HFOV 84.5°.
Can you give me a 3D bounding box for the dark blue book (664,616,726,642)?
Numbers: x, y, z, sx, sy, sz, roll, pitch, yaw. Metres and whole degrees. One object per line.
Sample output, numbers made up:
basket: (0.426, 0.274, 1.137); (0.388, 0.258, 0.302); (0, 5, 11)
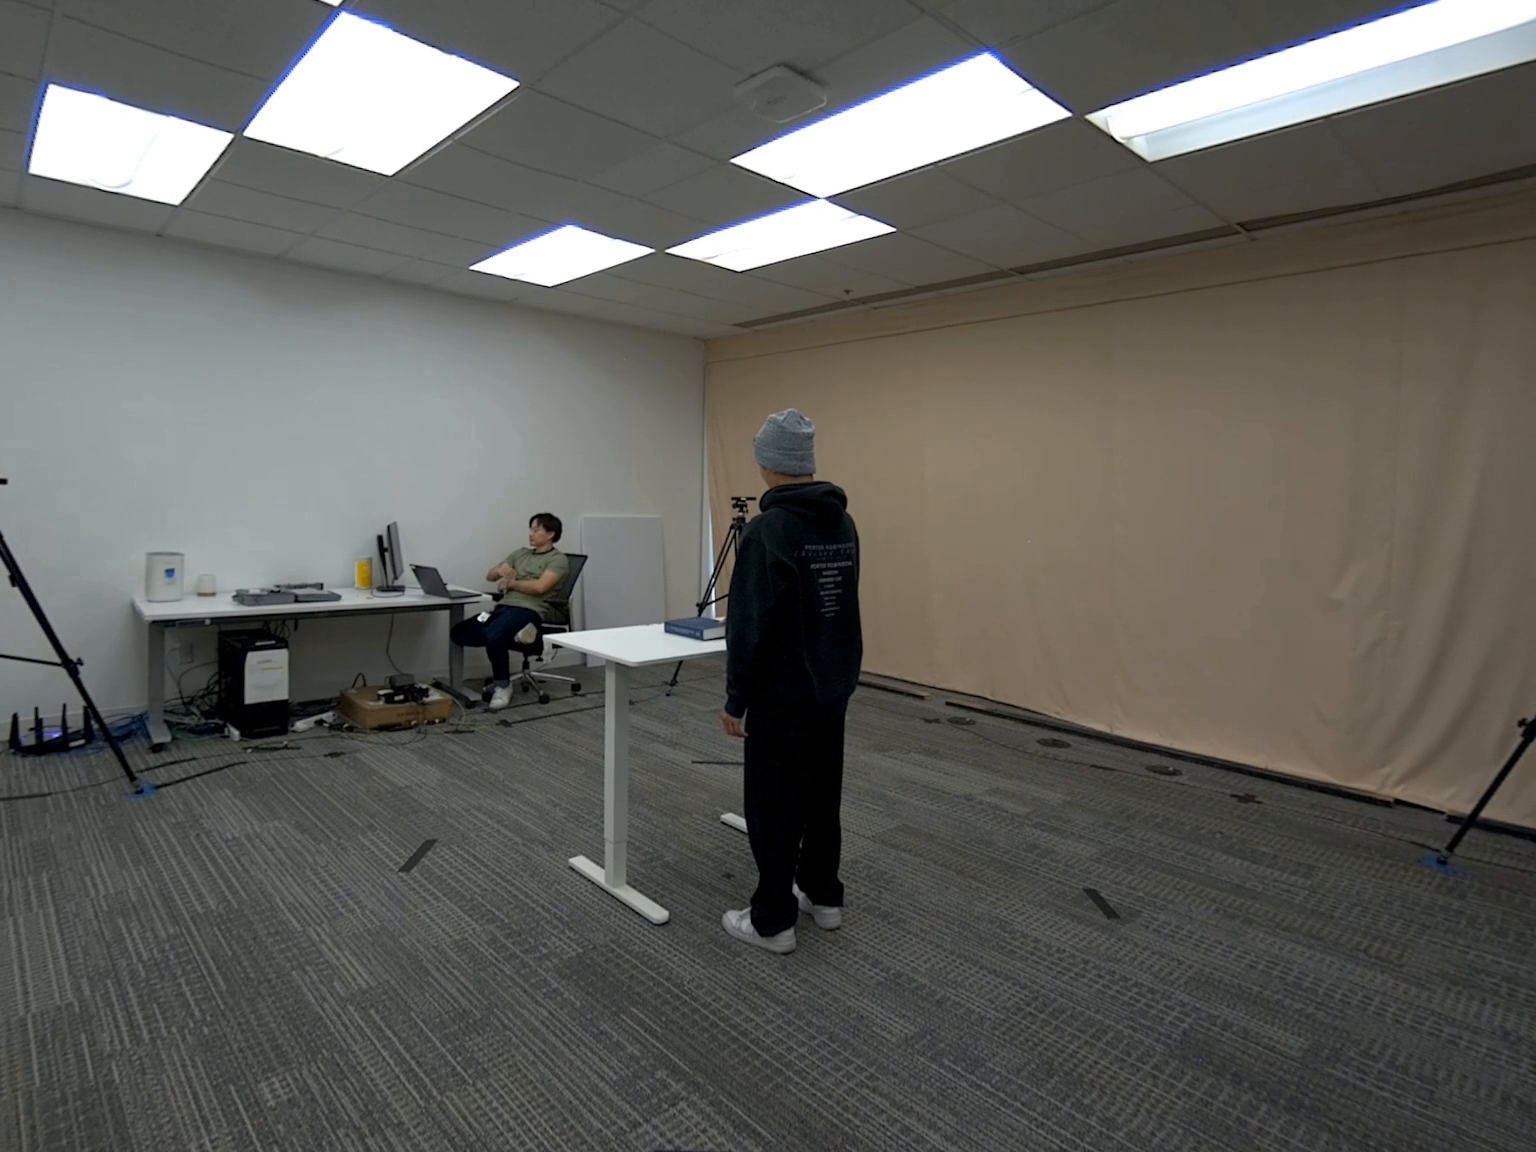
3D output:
dark blue book: (-0.268, 0.198, 3.136); (0.160, 0.045, 0.251); (-6, 8, -40)
